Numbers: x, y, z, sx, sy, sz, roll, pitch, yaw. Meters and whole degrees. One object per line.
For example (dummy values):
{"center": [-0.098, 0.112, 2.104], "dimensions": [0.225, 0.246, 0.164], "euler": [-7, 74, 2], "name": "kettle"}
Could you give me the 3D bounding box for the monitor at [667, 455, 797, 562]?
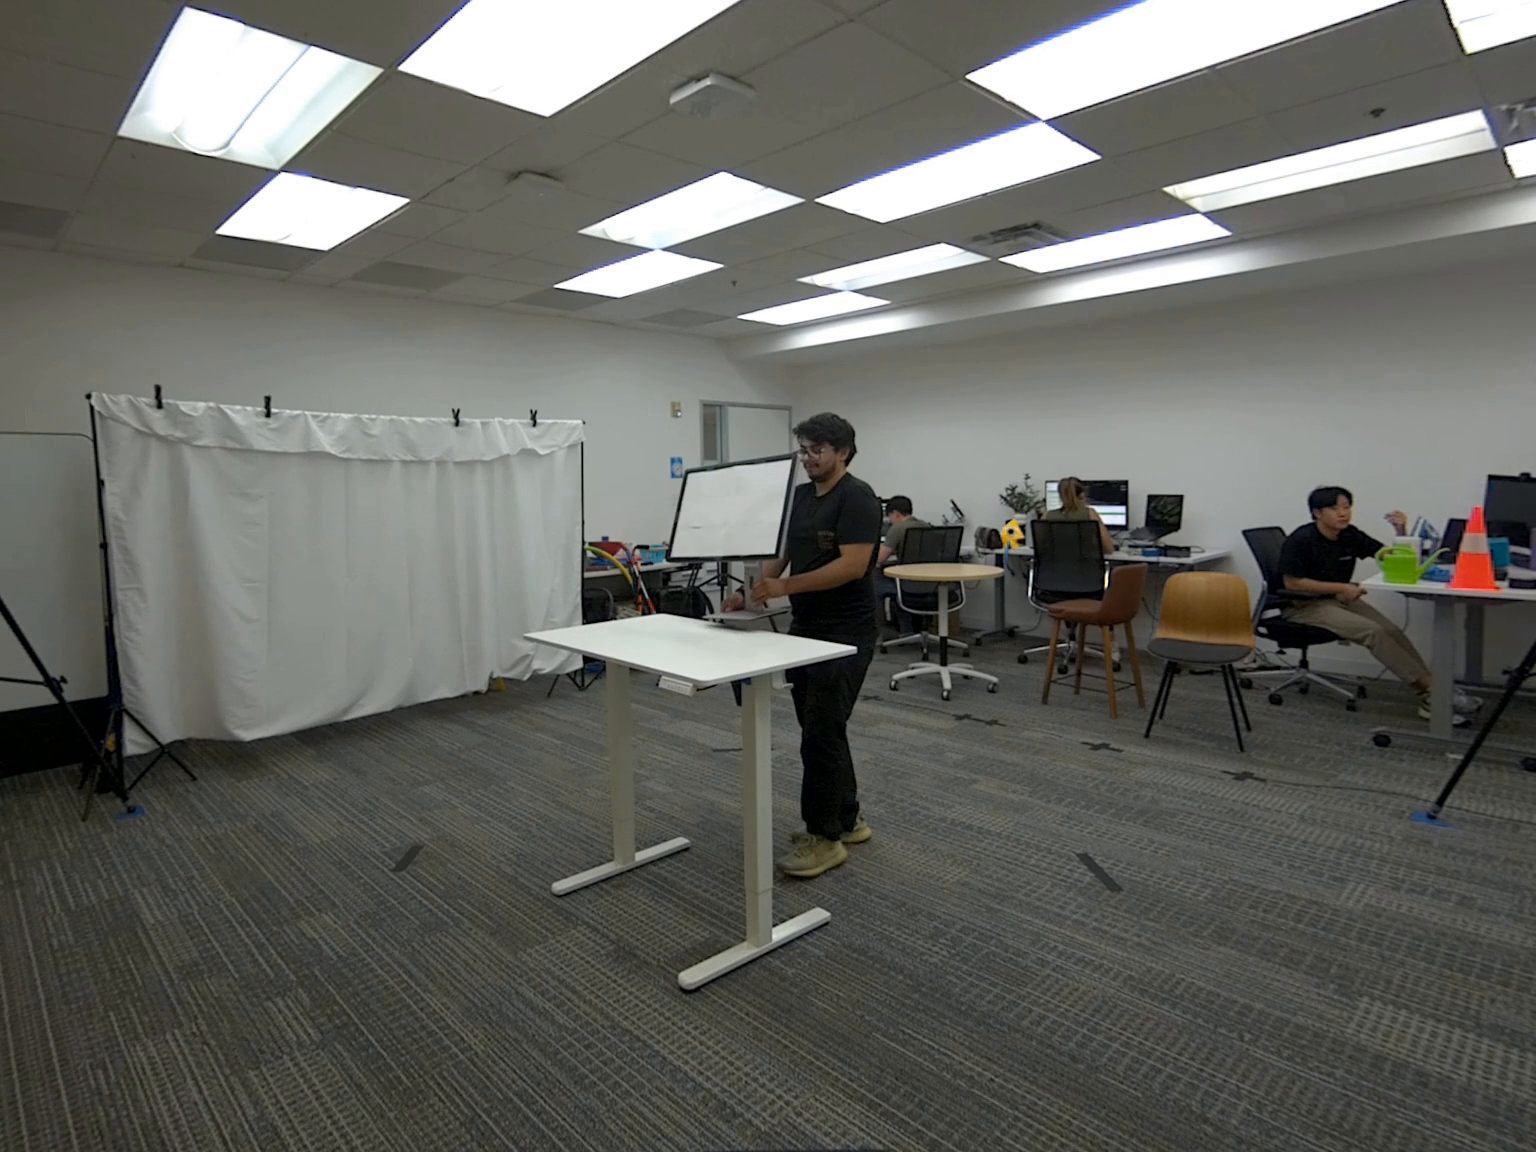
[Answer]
{"center": [-0.087, -0.127, 3.007], "dimensions": [0.581, 0.558, 0.203], "euler": [-2, -11, 45], "name": "monitor"}
